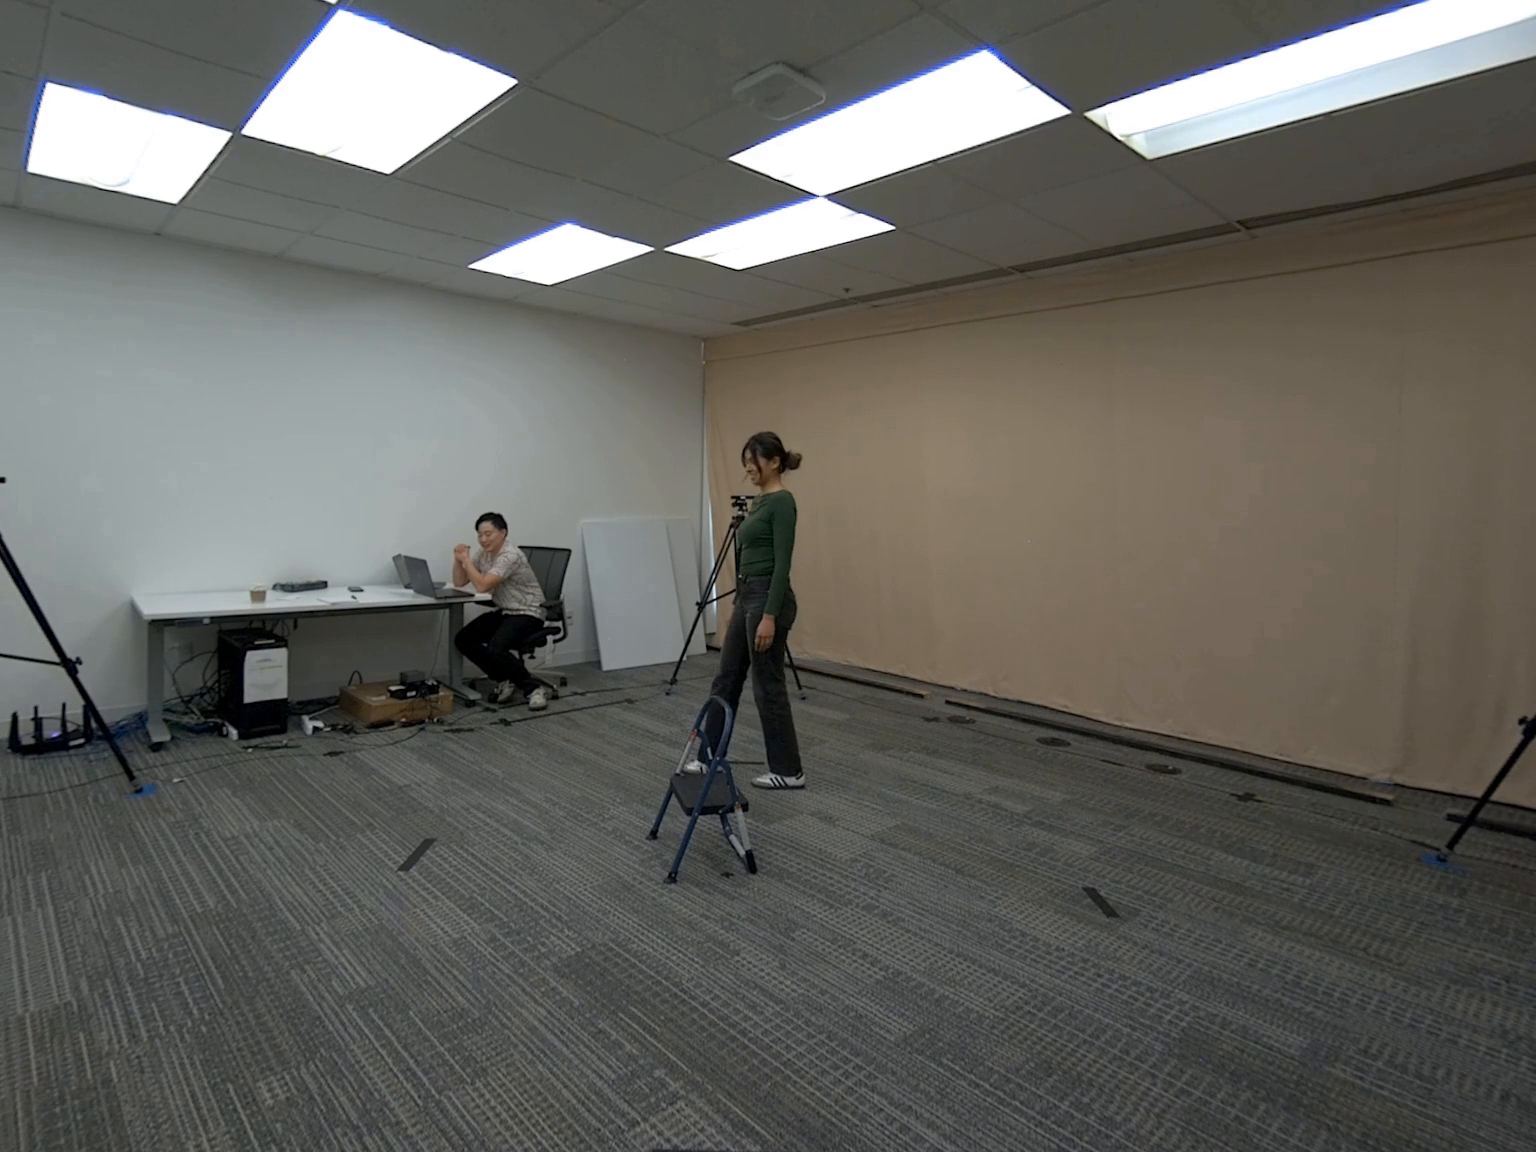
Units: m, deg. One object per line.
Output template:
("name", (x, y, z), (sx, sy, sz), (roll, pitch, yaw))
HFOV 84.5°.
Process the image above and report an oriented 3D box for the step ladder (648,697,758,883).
("step ladder", (-0.265, 0.783, 3.247), (0.345, 0.604, 0.437), (1, 4, -16))
